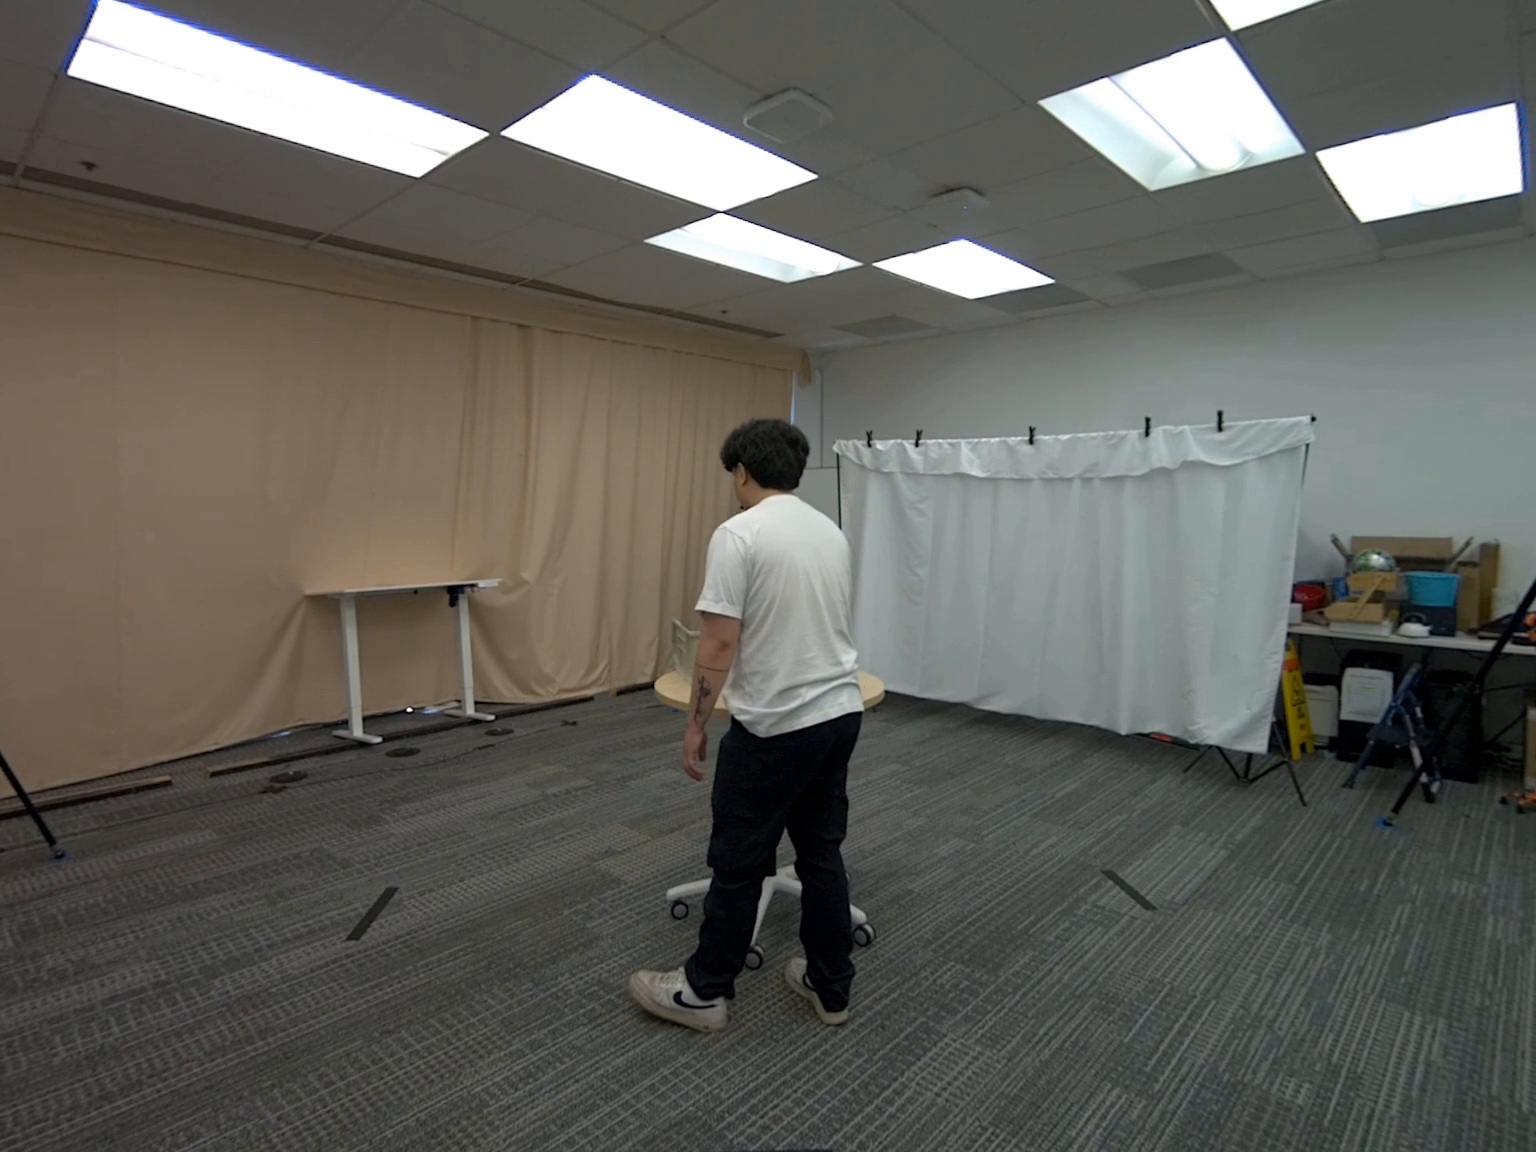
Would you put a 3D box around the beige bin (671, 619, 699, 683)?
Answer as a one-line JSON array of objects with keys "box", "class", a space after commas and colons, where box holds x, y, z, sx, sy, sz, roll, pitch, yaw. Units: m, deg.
[{"box": [-0.110, 0.255, 3.008, 0.416, 0.188, 0.384, -1, 6, -15], "class": "beige bin"}]
